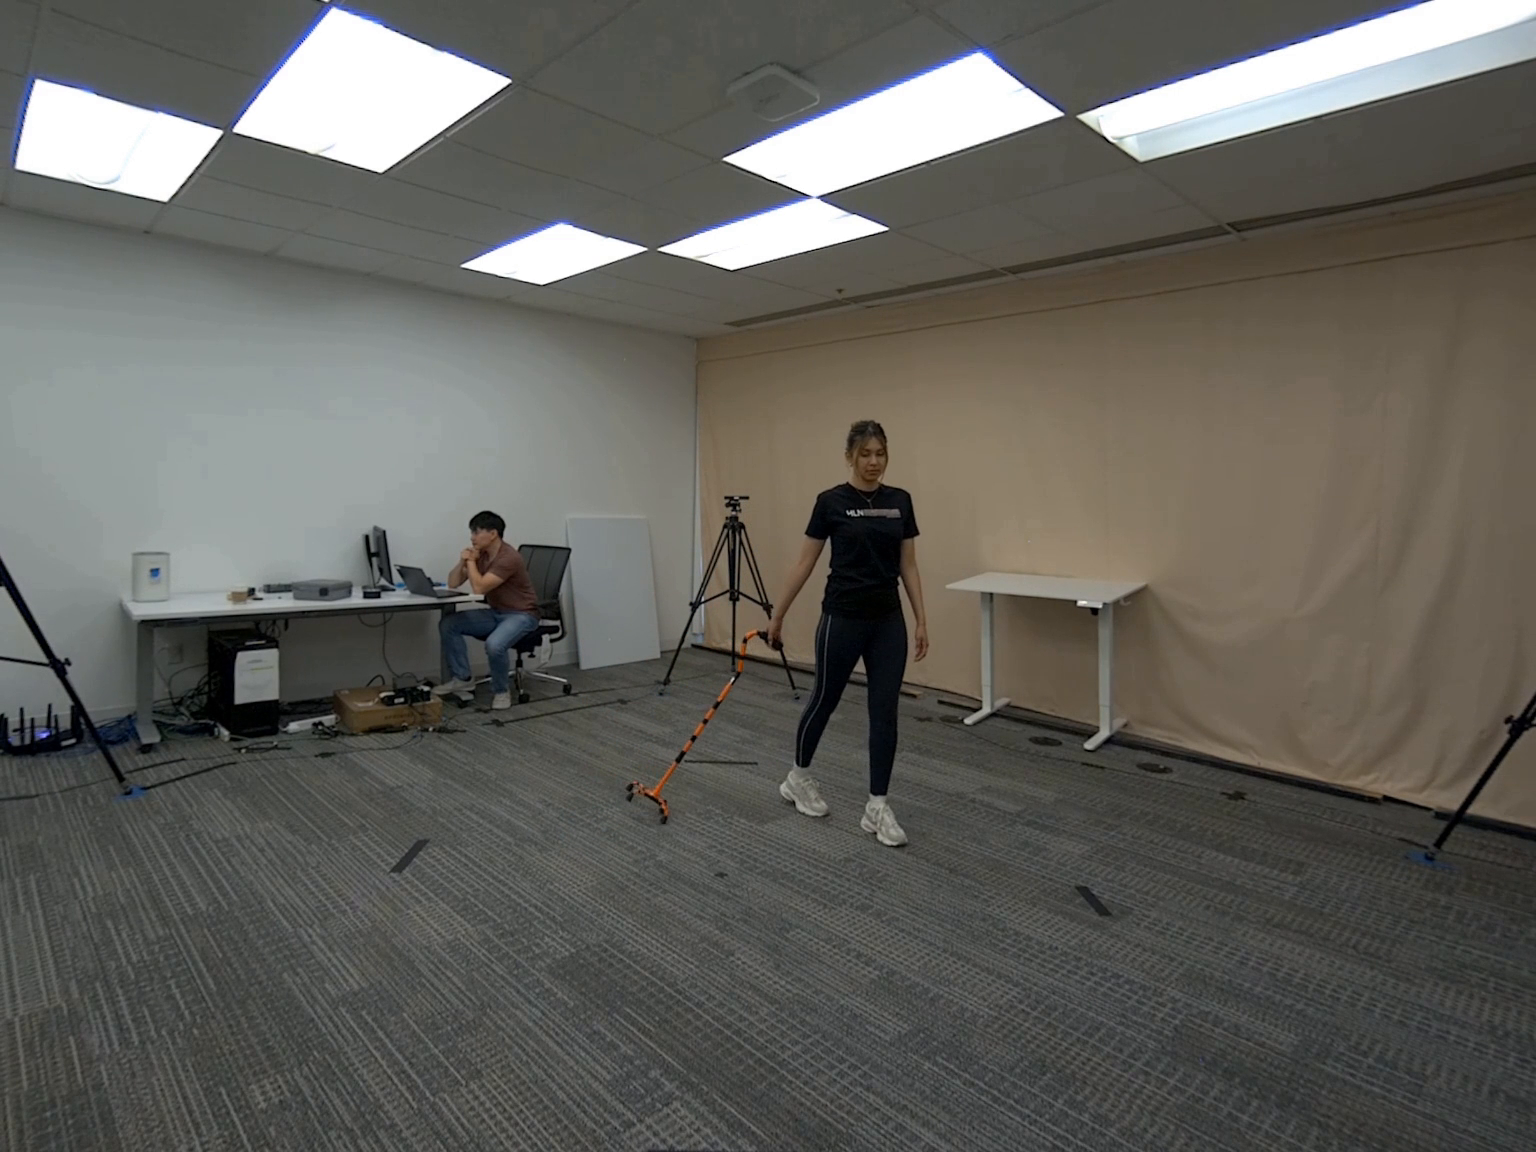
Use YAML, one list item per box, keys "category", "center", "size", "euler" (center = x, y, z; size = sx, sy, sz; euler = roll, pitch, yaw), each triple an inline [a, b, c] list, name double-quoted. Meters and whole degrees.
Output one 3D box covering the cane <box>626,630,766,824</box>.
- category: "cane"
  center: [-0.284, 0.626, 3.636]
  size: [0.205, 0.908, 0.153]
  euler: [35, -1, -8]
